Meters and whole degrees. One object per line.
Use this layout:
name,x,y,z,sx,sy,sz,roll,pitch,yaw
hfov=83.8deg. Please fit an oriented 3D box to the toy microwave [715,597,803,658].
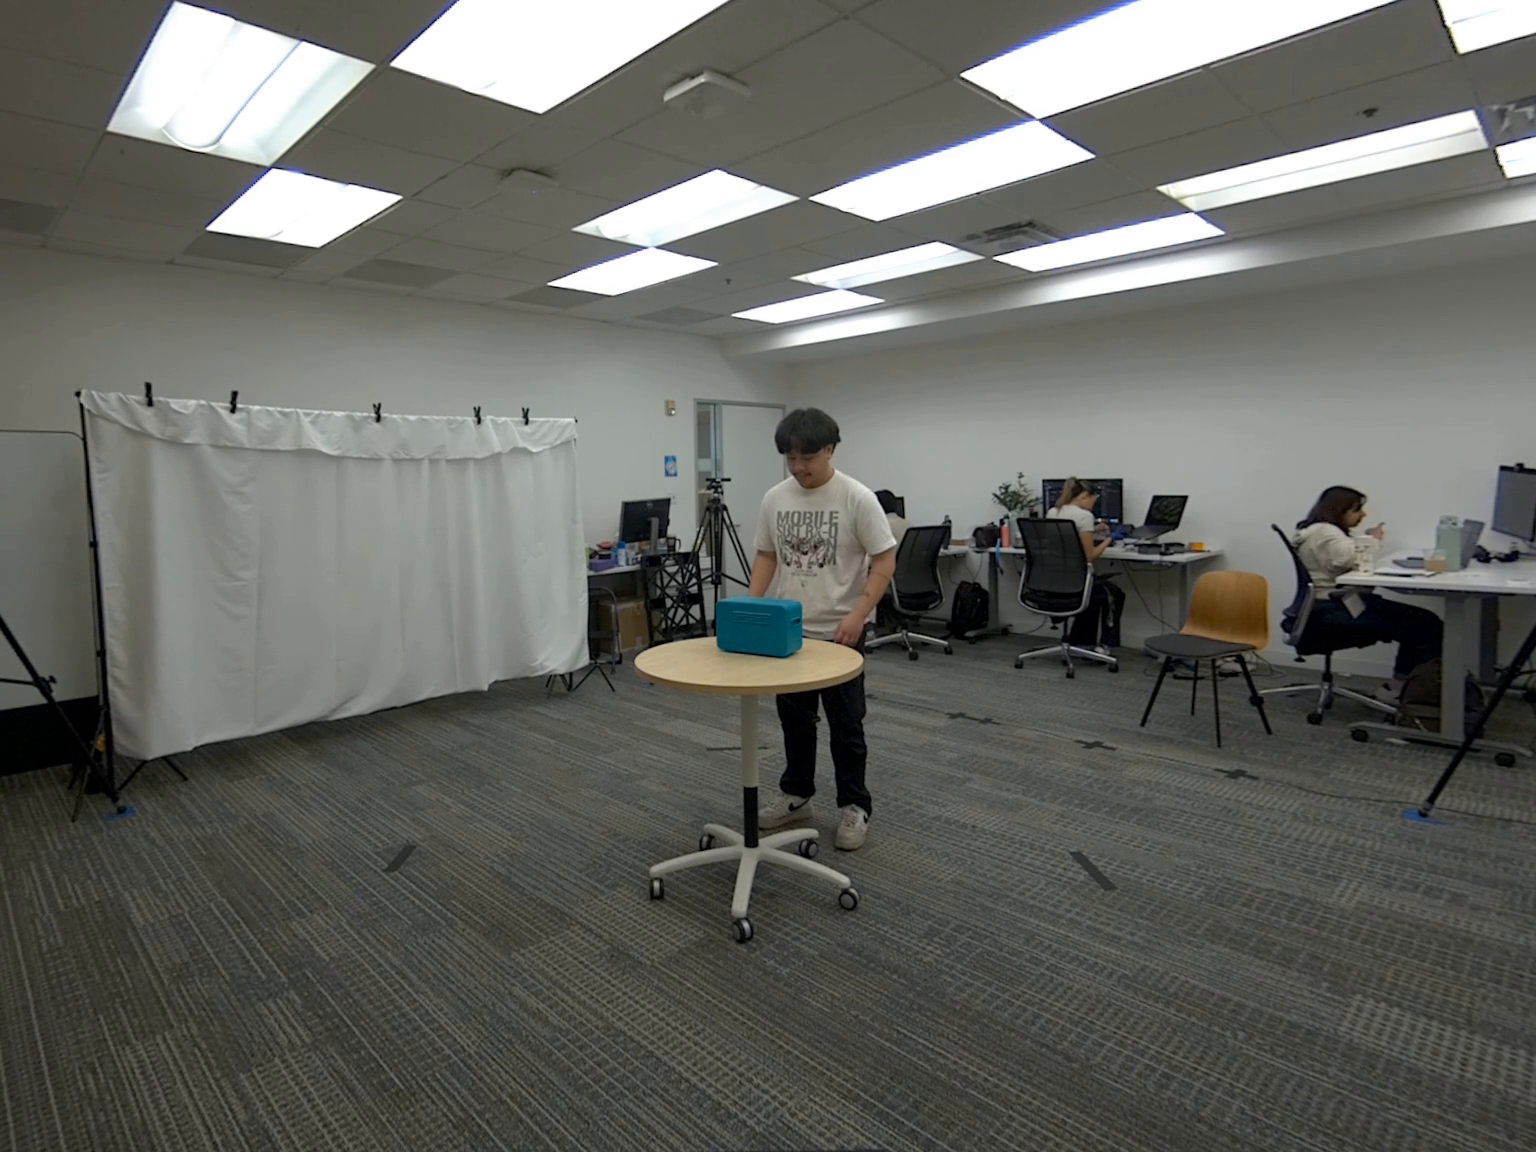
toy microwave,-0.025,0.171,2.965,0.294,0.183,0.149,2,6,31
